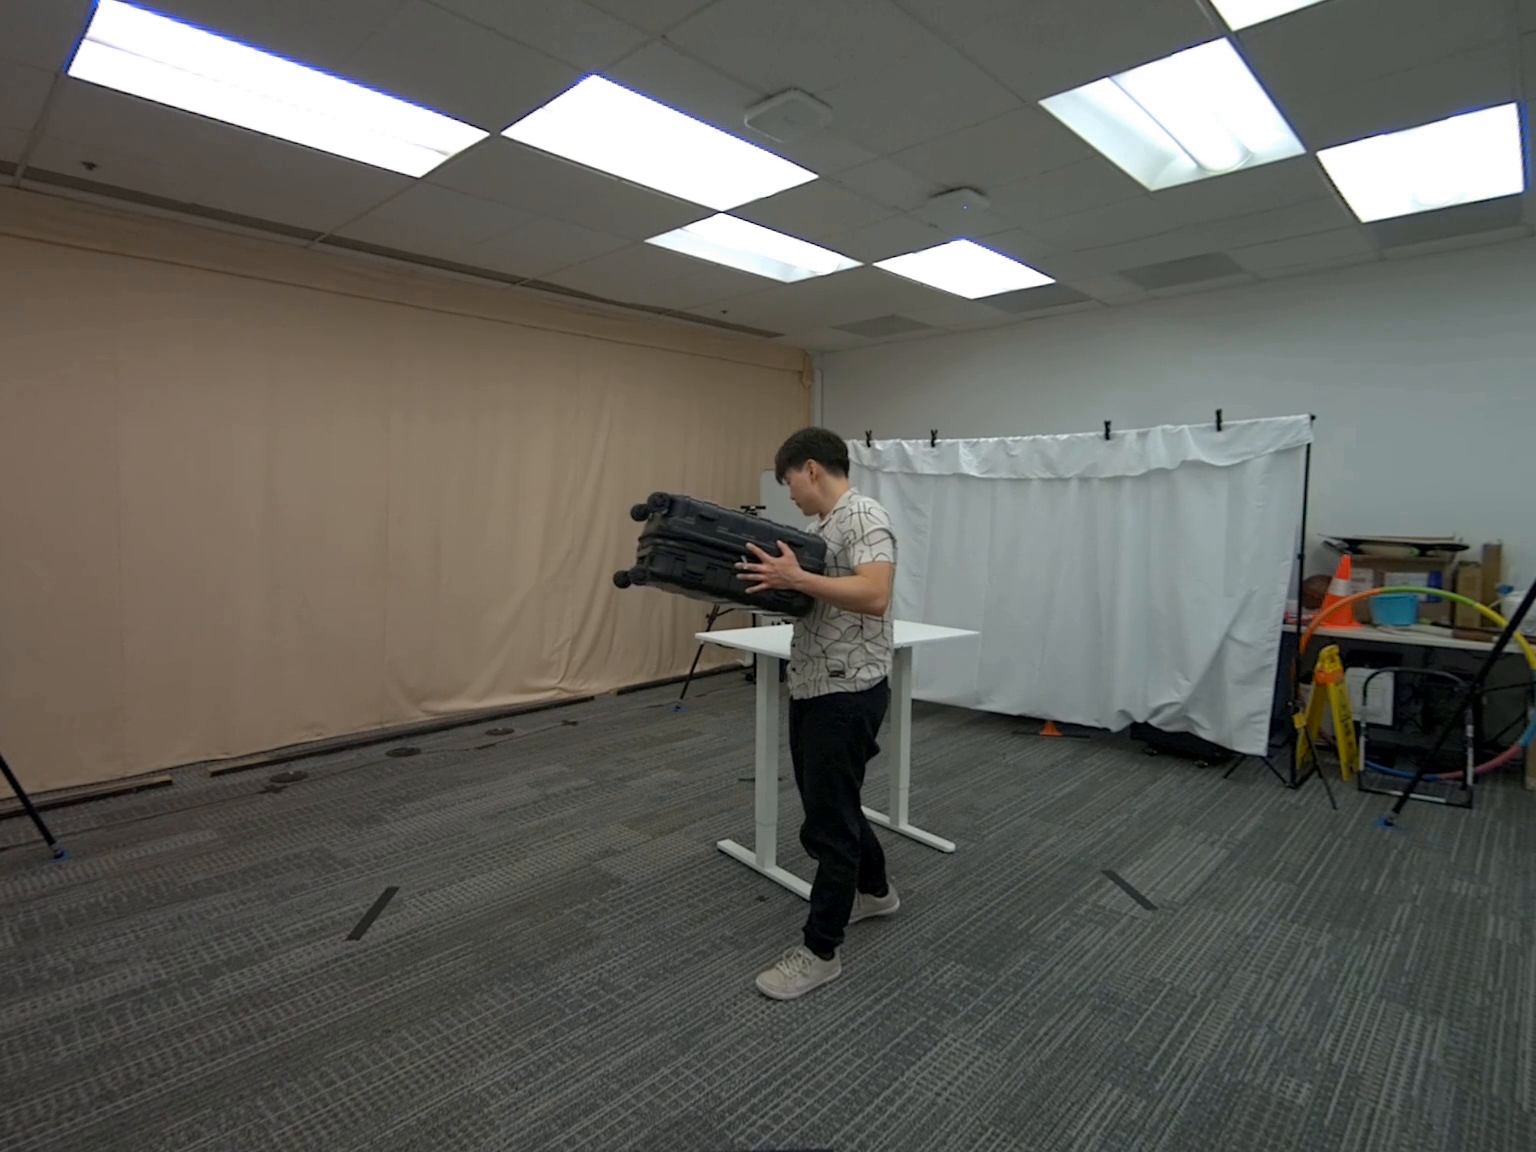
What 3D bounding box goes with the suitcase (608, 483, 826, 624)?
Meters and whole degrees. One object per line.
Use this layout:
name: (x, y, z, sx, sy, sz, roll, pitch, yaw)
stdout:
suitcase: (-0.132, -0.047, 2.386, 0.541, 0.249, 0.380, 13, -8, -14)
